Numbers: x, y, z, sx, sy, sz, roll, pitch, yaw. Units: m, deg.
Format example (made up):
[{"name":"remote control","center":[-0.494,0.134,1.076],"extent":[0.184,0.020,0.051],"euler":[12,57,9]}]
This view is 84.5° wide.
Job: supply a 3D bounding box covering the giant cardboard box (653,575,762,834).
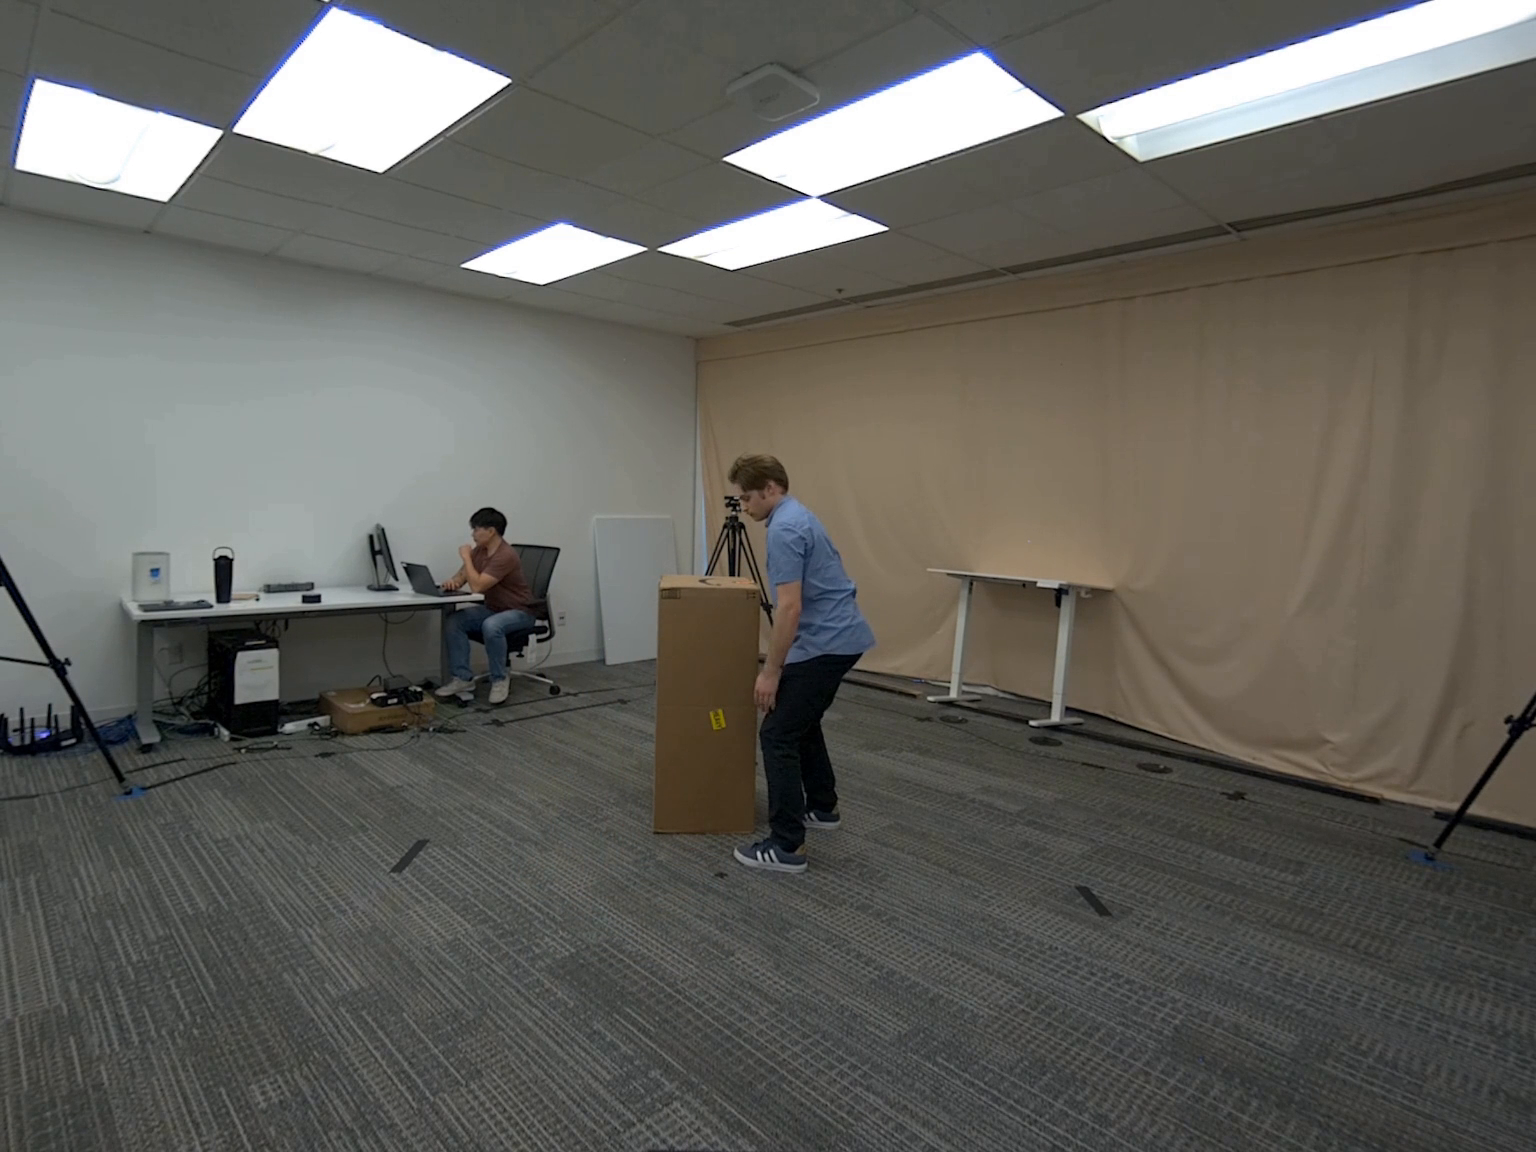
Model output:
[{"name":"giant cardboard box","center":[-0.291,0.537,3.756],"extent":[0.425,1.024,0.580],"euler":[1,3,-5]}]
